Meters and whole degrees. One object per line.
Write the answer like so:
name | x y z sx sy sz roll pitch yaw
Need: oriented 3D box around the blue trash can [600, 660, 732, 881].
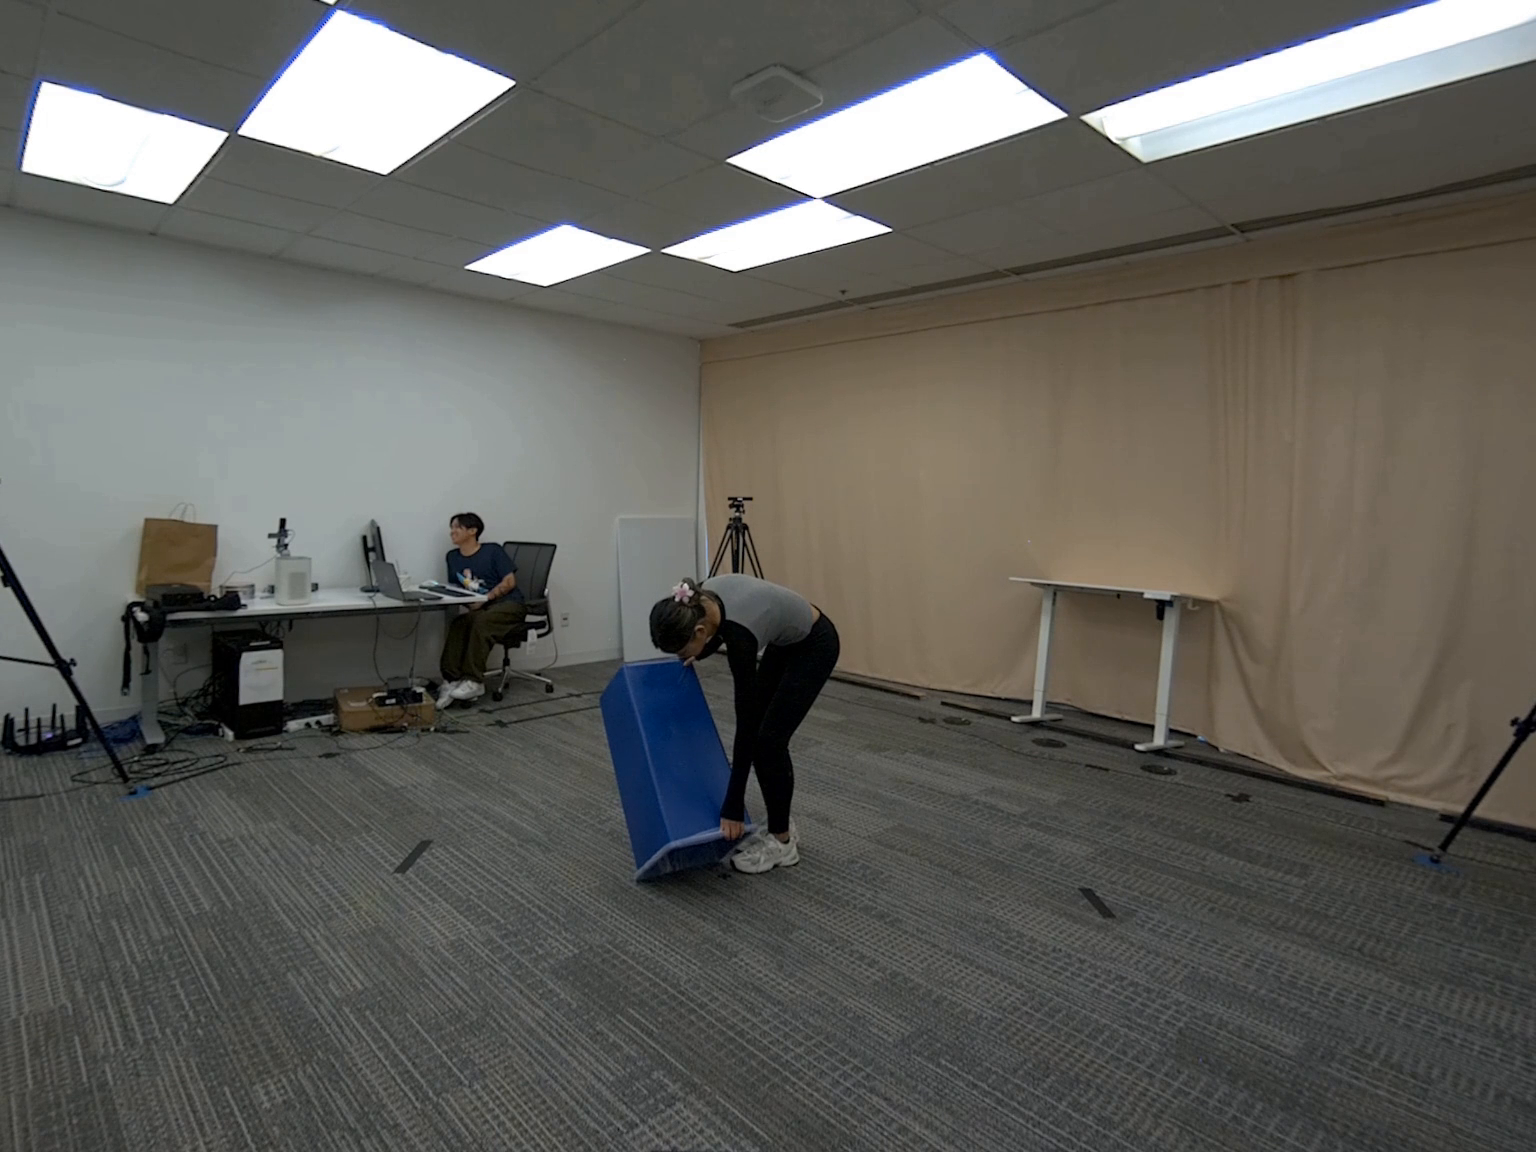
blue trash can | -0.383 0.707 3.181 0.370 0.731 0.373 -1 -34 -33
